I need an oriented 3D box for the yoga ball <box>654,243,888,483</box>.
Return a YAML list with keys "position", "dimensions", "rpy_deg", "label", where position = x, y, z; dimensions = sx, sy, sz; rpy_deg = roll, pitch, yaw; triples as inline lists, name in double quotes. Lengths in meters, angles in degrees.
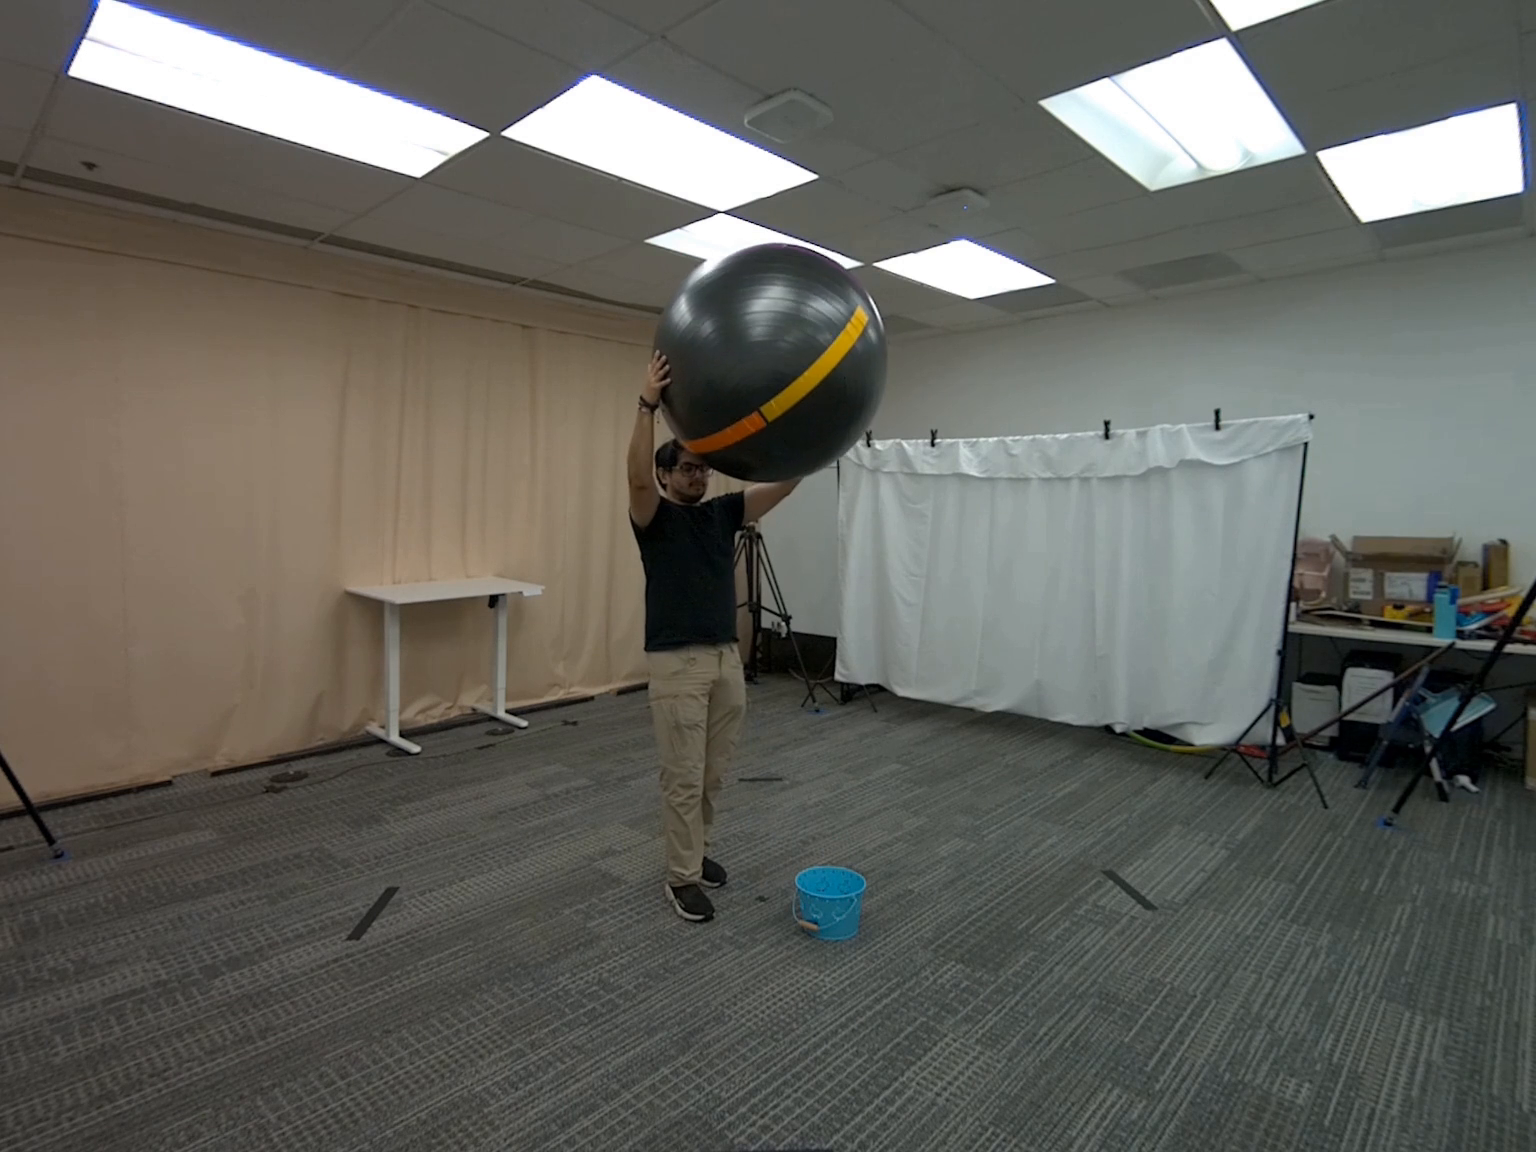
- position: [0.007, -0.677, 2.720]
  dimensions: [0.757, 0.756, 0.761]
  rpy_deg: [0, 4, -2]
  label: "yoga ball"
